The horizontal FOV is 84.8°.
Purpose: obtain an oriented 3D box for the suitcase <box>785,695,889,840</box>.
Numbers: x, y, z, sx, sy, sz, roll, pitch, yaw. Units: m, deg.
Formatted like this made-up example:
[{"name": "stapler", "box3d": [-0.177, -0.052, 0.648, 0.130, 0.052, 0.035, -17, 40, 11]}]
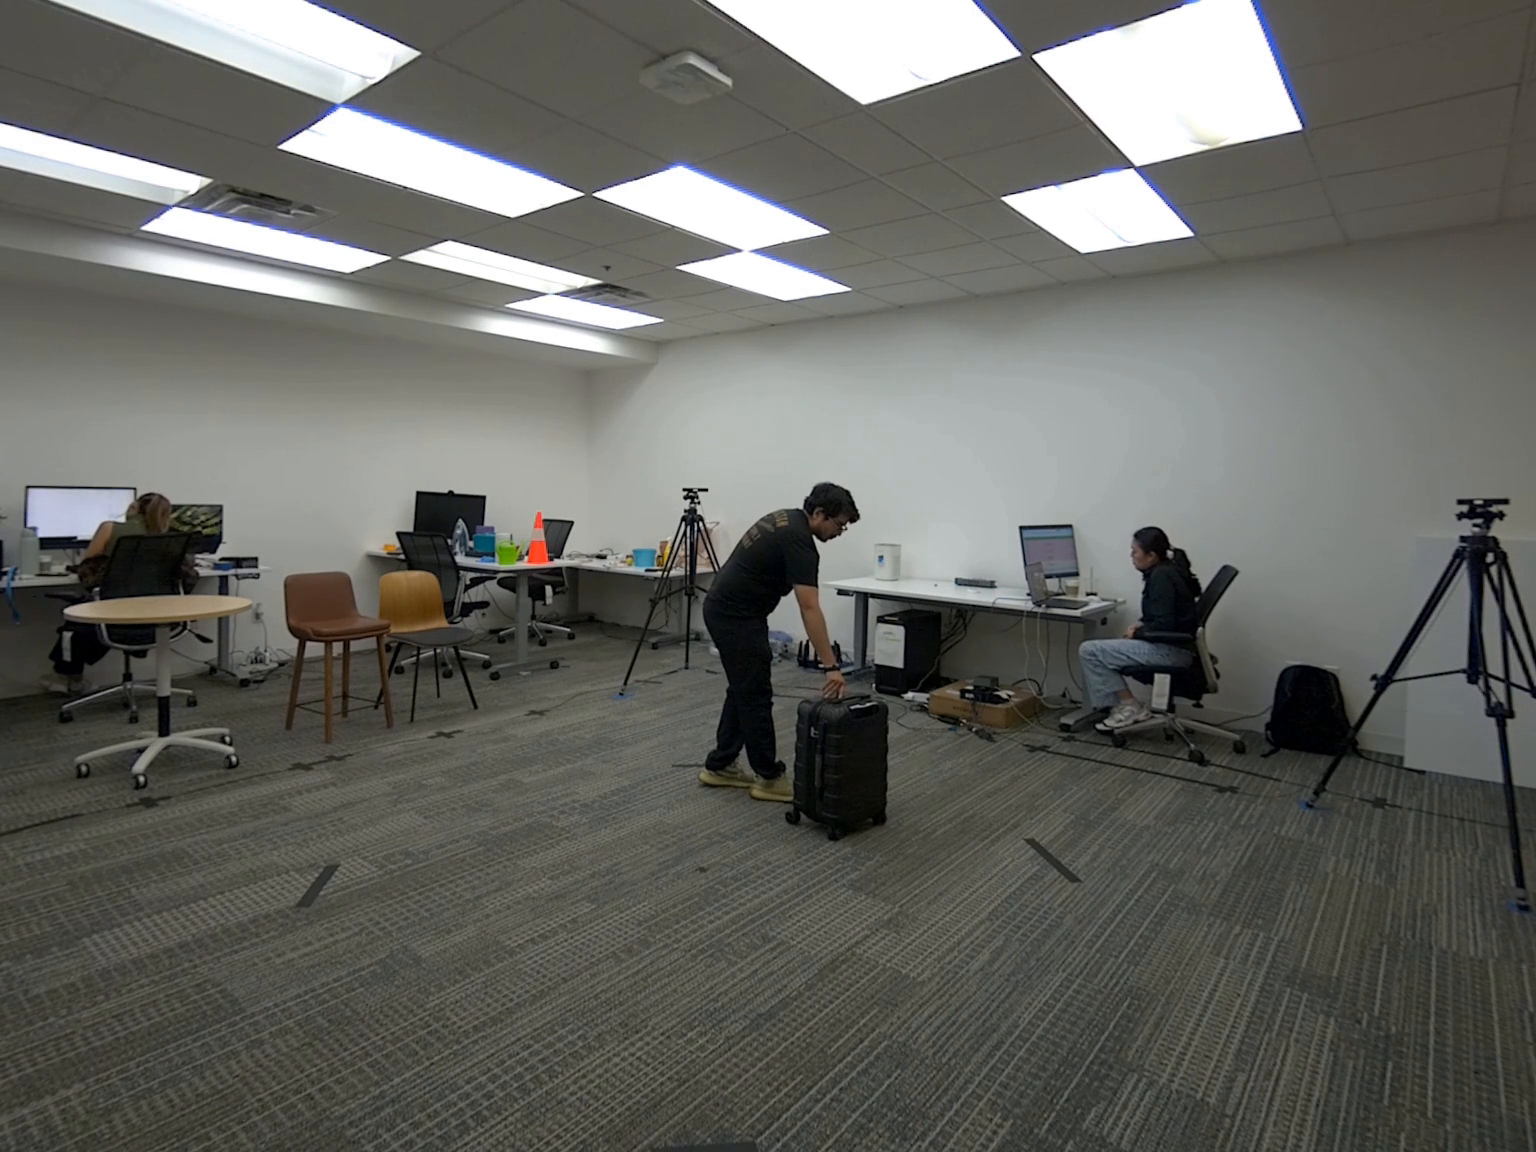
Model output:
[{"name": "suitcase", "box3d": [0.298, 0.759, 3.549, 0.364, 0.547, 0.257, -2, 5, -41]}]
